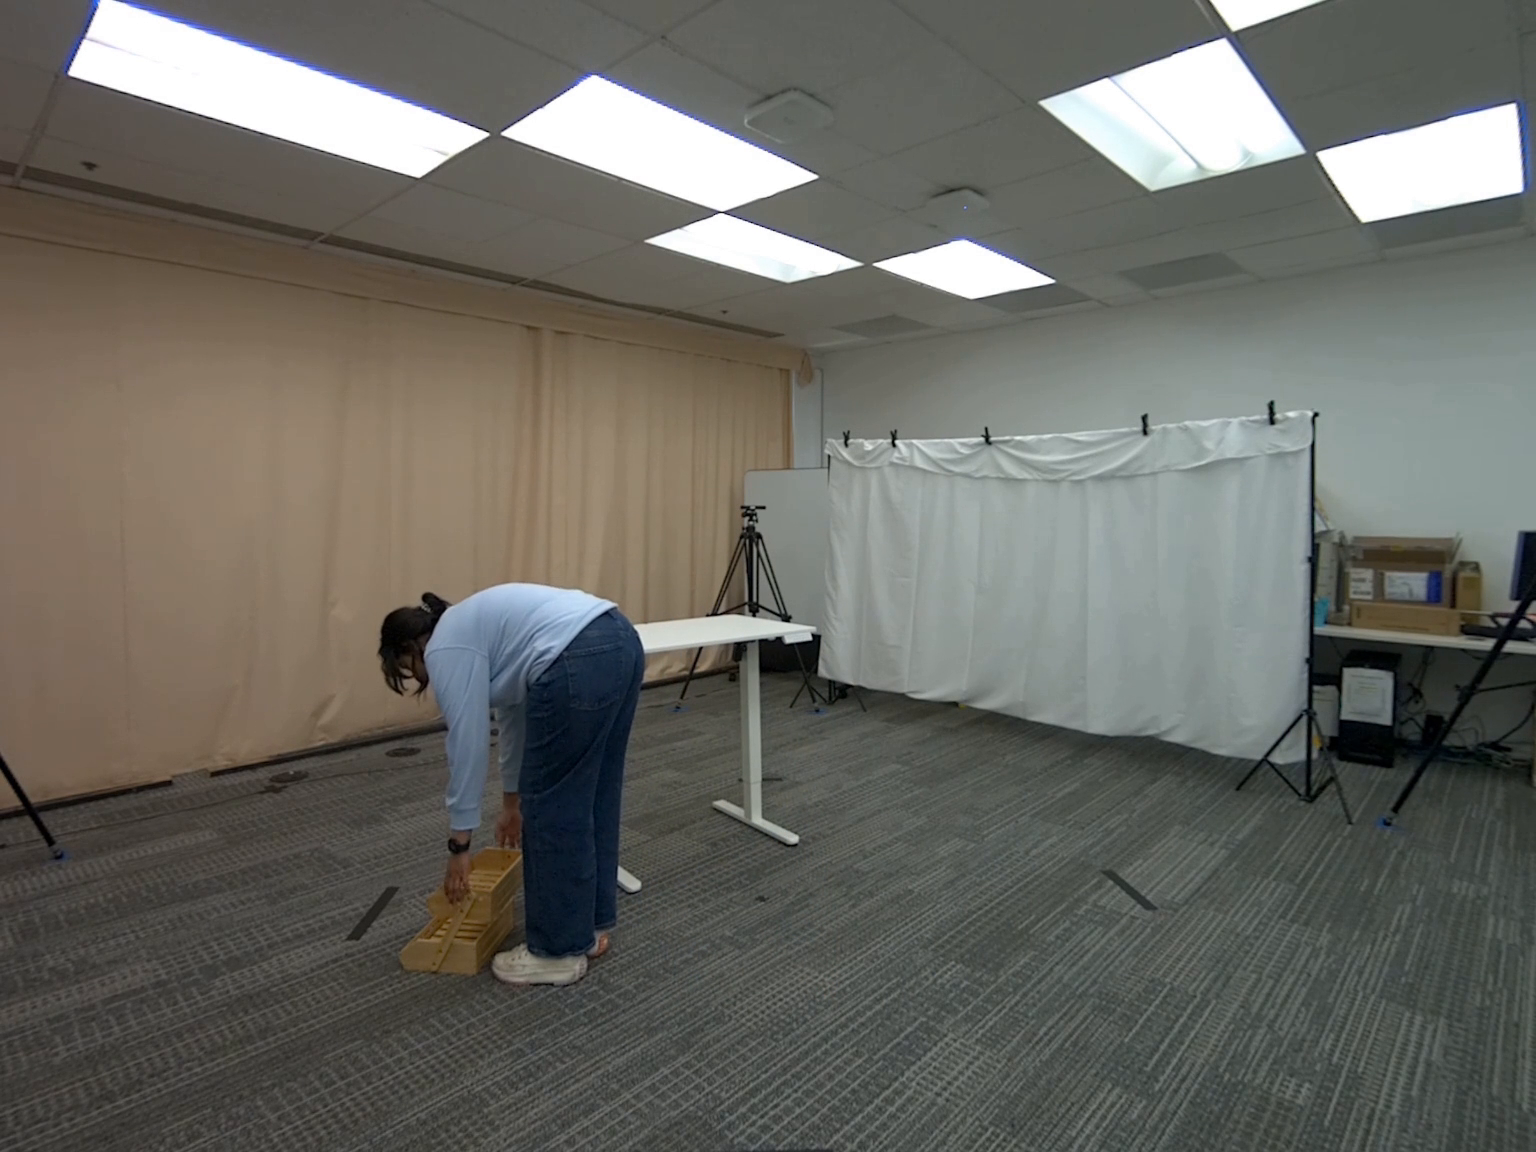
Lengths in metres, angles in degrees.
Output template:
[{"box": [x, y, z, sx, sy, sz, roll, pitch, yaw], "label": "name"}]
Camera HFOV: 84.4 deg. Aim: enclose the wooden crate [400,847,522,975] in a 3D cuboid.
[{"box": [-0.963, 1.049, 2.658, 0.304, 0.273, 0.323, 1, 4, 6], "label": "wooden crate"}]
